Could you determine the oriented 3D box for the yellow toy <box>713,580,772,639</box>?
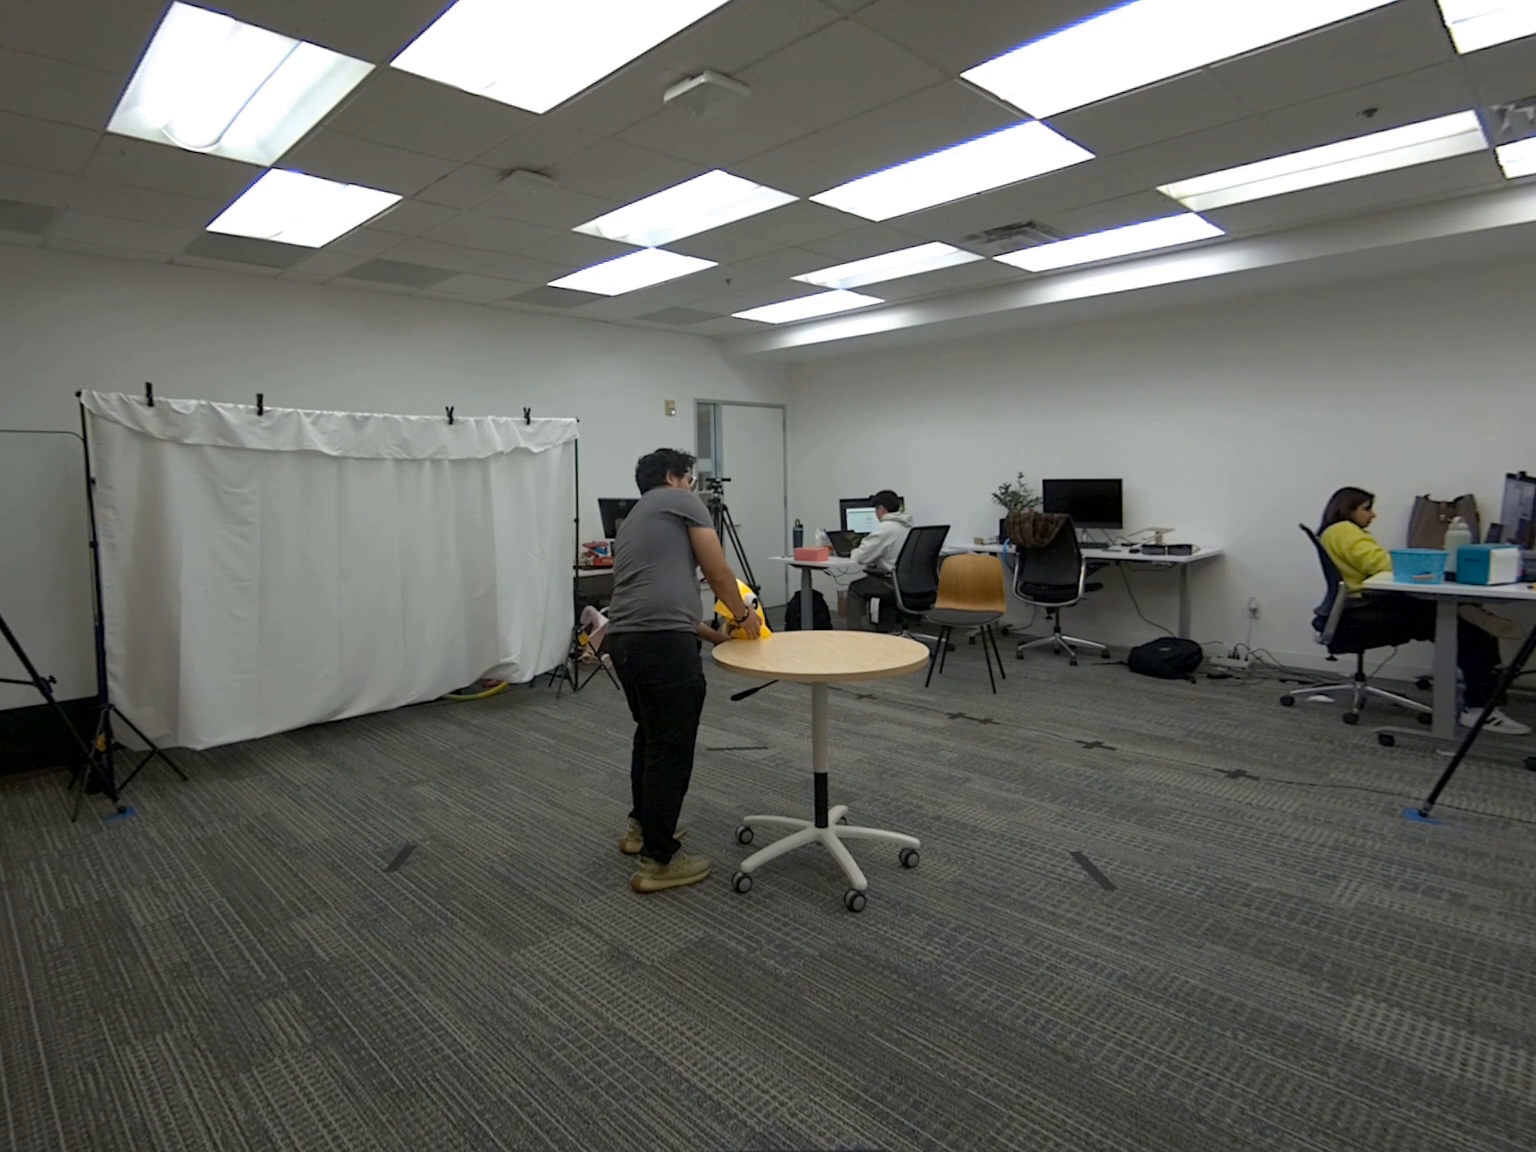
[{"bbox_3d":[-0.091,0.113,3.372,0.189,0.229,0.211,-4,9,-29],"label":"yellow toy"}]
